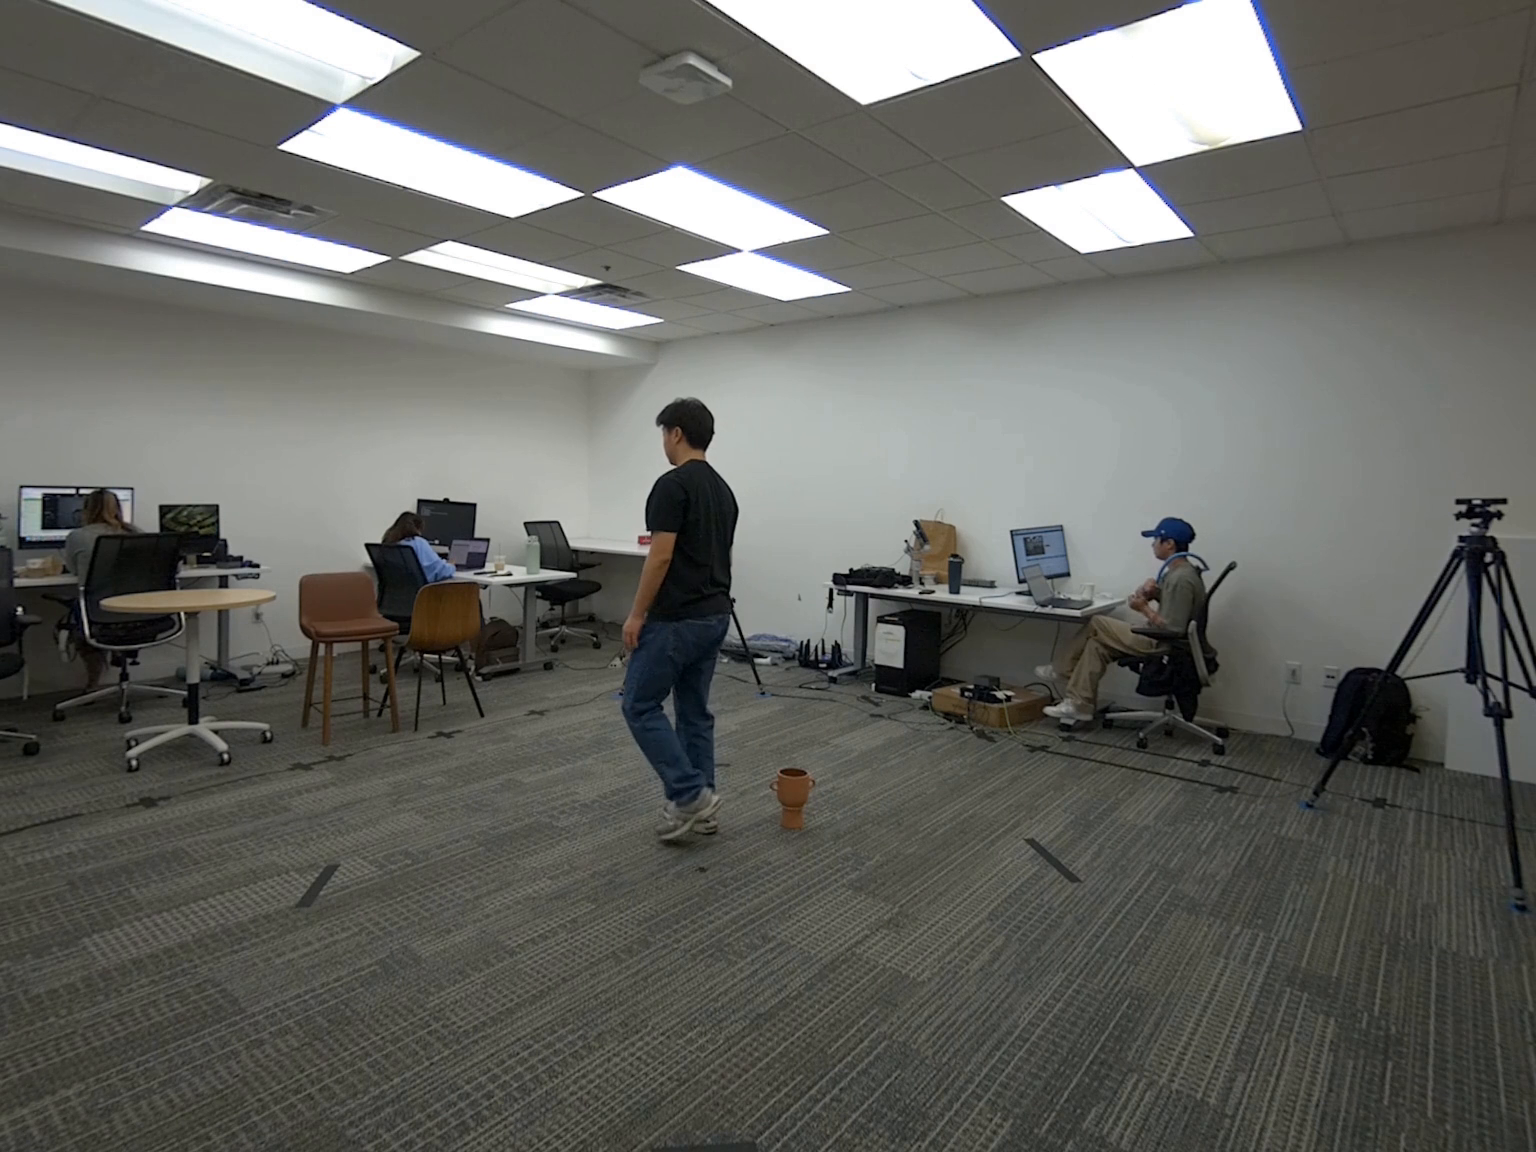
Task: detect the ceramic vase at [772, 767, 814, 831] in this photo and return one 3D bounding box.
[{"bbox_3d":[0.098,0.926,3.546,0.163,0.219,0.132,4,5,24],"label":"ceramic vase"}]
